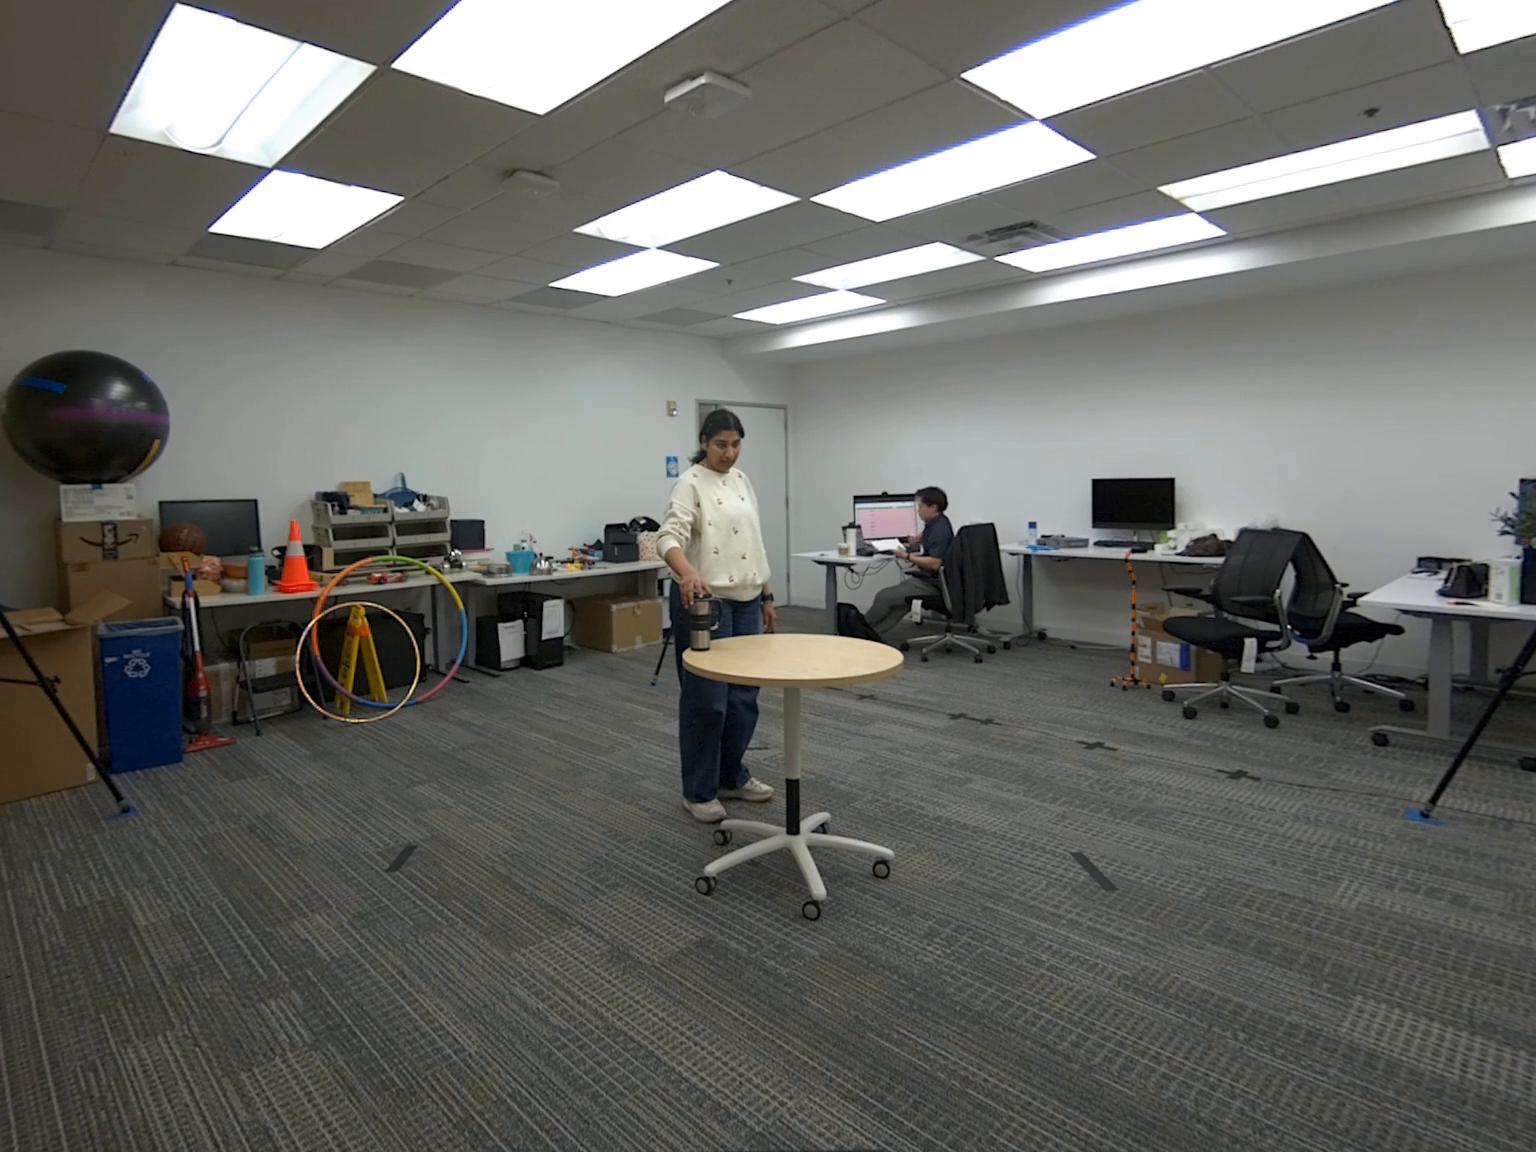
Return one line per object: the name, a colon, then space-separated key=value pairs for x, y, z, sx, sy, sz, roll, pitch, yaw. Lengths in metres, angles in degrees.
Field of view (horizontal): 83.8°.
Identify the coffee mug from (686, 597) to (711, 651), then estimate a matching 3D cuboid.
coffee mug: x=-0.226 y=0.170 z=3.055 sx=0.125 sy=0.203 sz=0.085 roll=1 pitch=2 yaw=37
